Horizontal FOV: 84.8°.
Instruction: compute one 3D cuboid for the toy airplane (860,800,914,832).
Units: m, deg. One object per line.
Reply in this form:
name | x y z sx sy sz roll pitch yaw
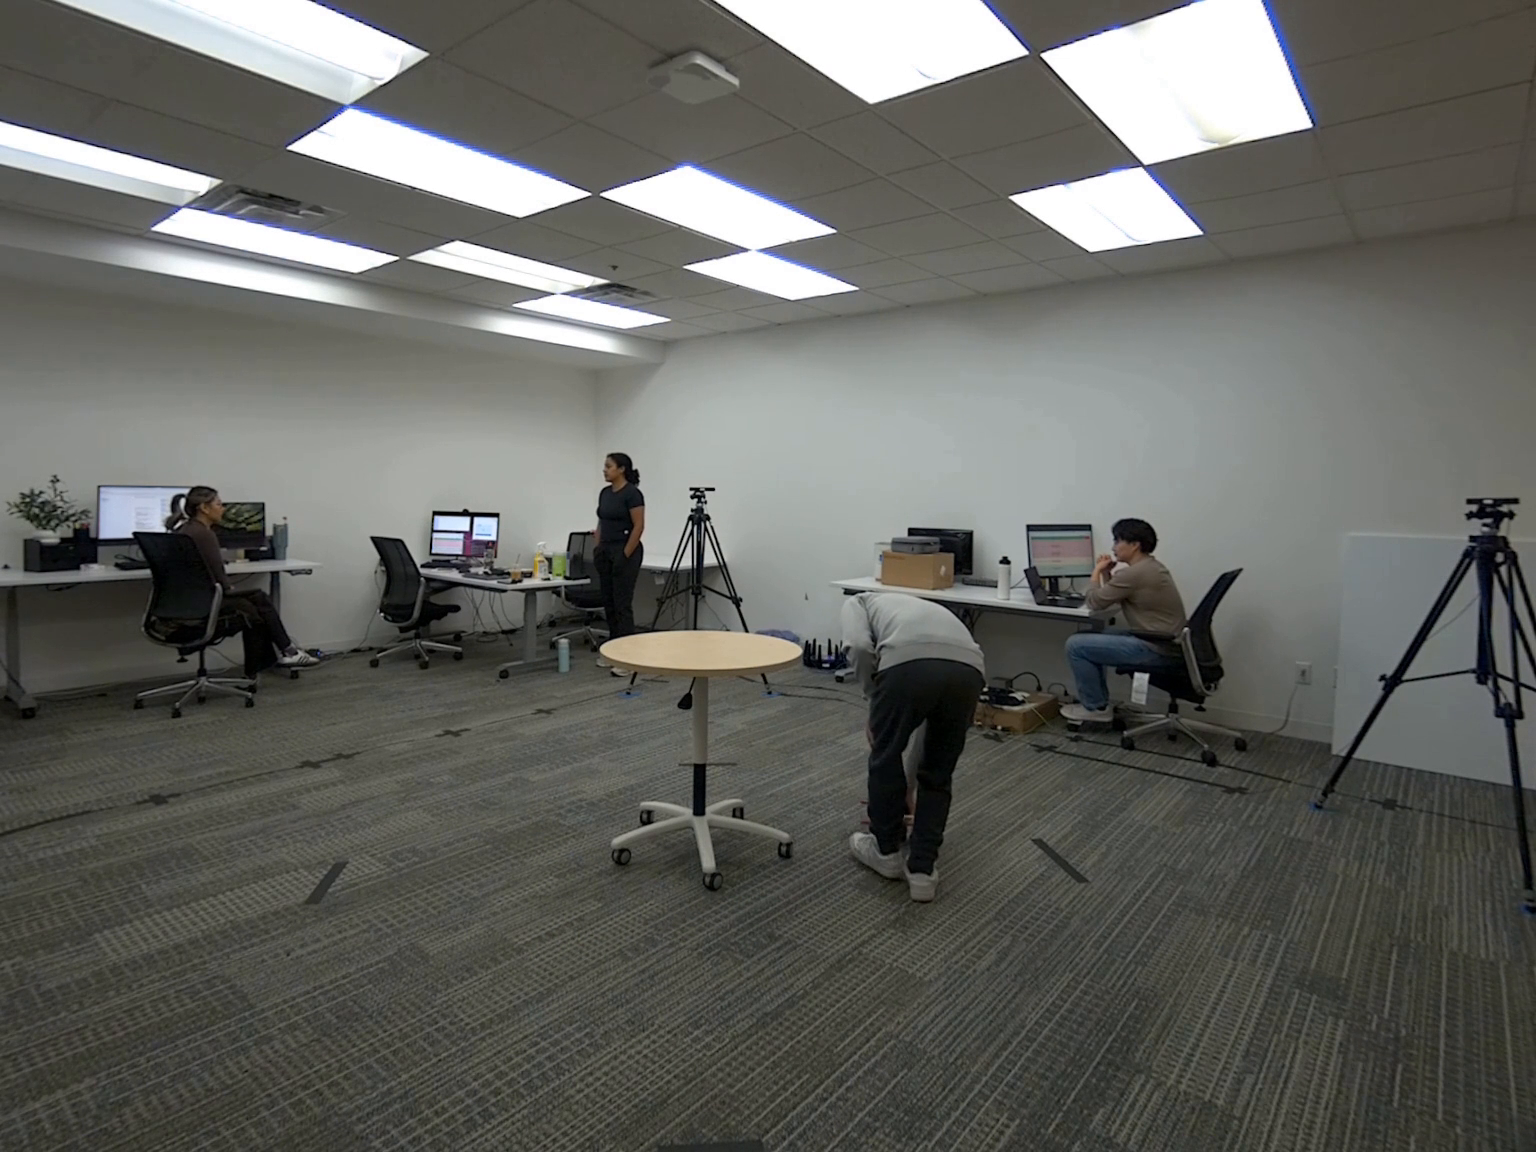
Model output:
toy airplane | 0.504 0.947 3.351 0.244 0.160 0.260 16 -30 -24
